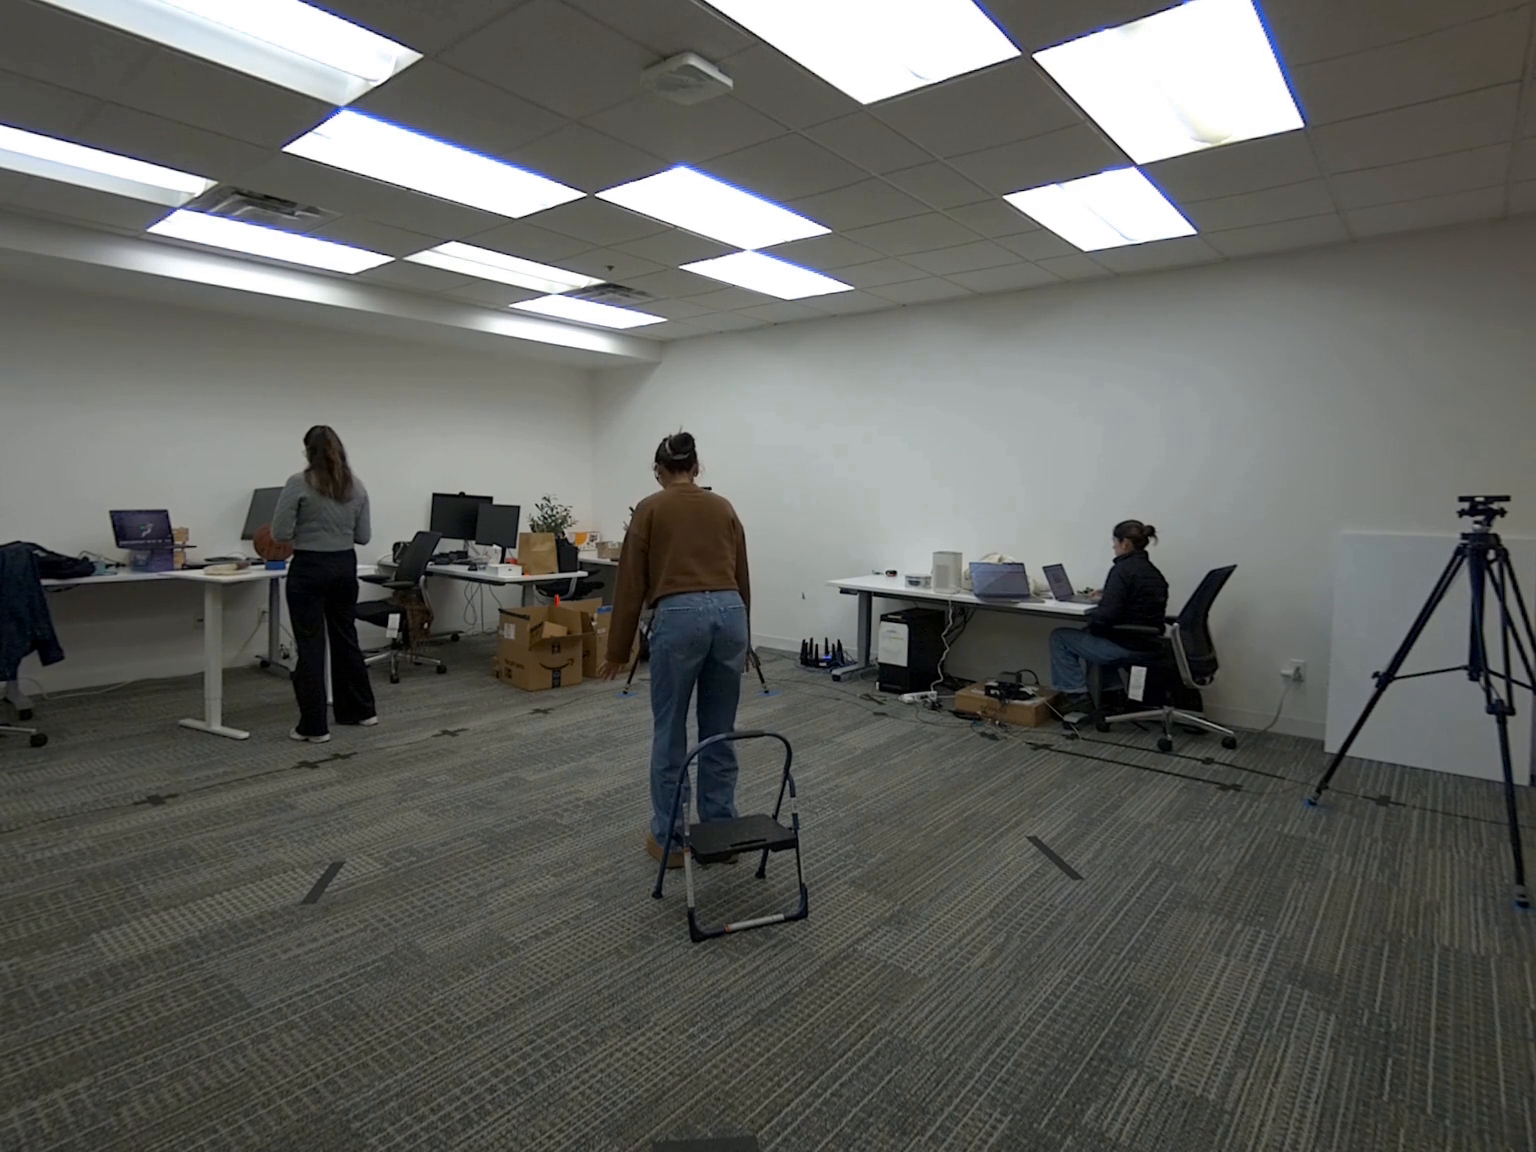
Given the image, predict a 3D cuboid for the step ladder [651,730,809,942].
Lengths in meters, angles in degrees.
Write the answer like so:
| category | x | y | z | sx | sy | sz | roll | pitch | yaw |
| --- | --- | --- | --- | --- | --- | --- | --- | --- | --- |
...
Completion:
| category | x | y | z | sx | sy | sz | roll | pitch | yaw |
| --- | --- | --- | --- | --- | --- | --- | --- | --- | --- |
| step ladder | -0.132 | 0.797 | 2.819 | 0.420 | 0.605 | 0.359 | -1 | 3 | -27 |
